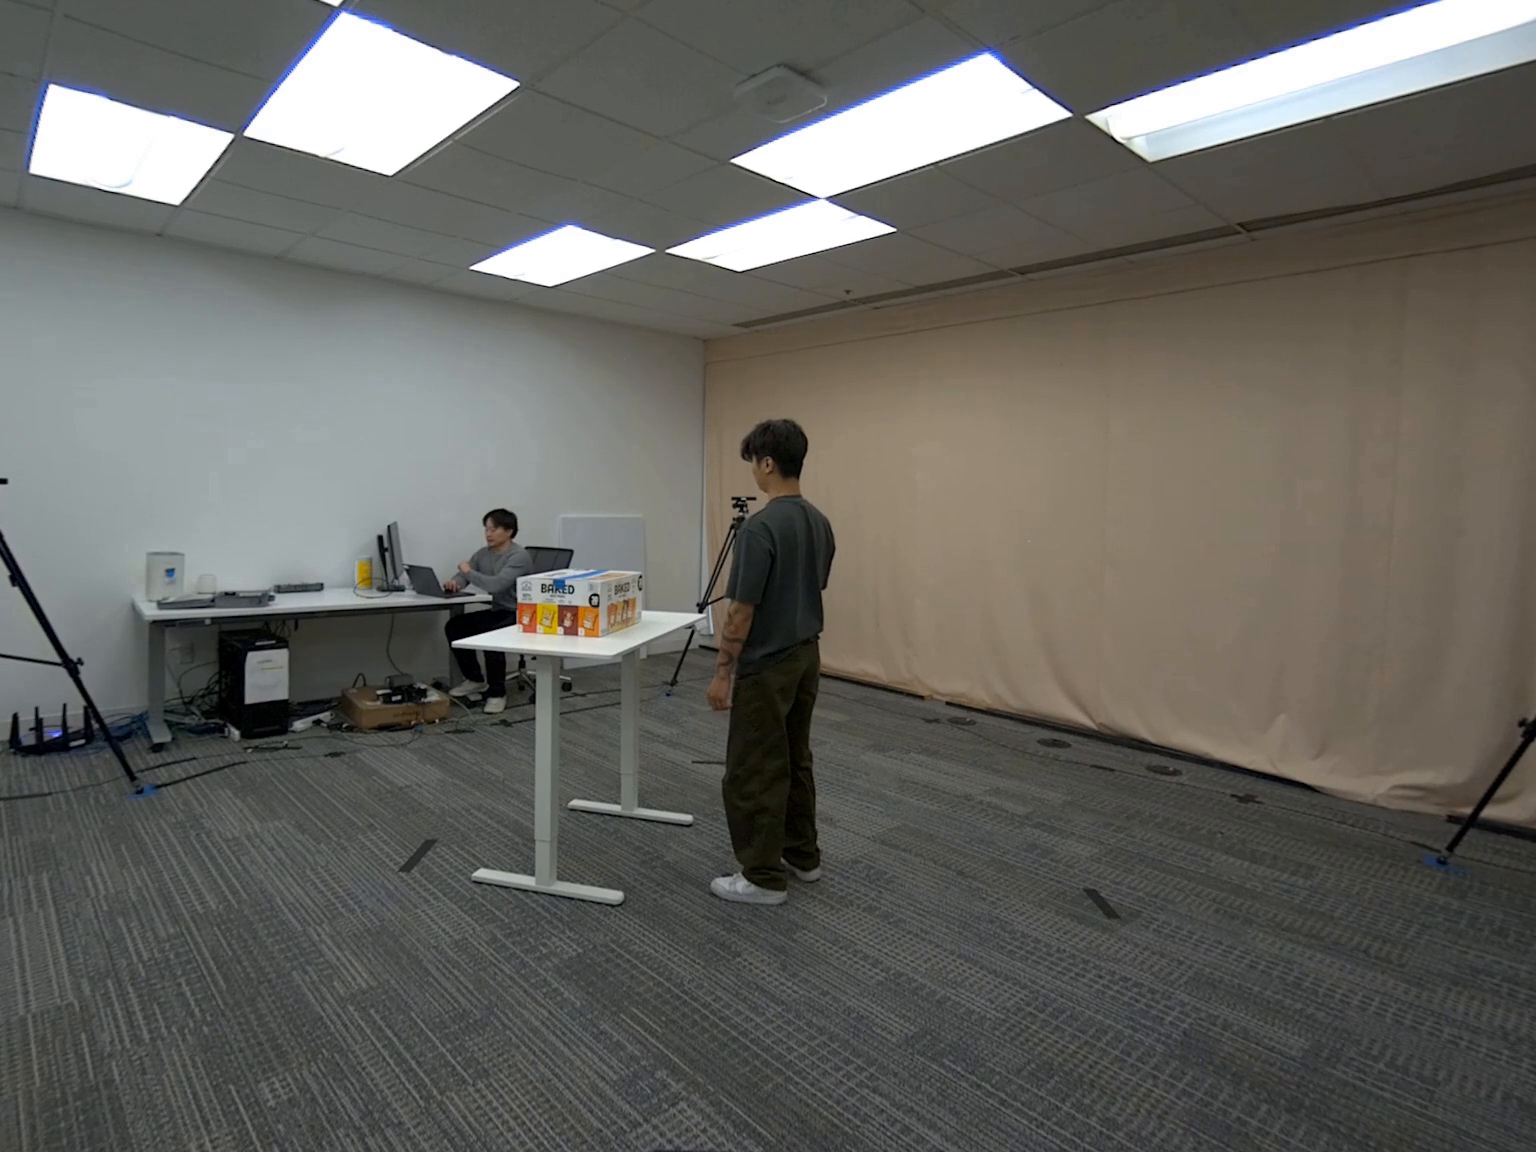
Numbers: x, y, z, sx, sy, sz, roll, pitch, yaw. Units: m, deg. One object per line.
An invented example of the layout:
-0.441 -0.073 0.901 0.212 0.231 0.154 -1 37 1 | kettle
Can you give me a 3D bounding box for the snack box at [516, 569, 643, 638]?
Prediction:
-0.721 0.096 3.259 0.344 0.205 0.401 3 5 14 | snack box
